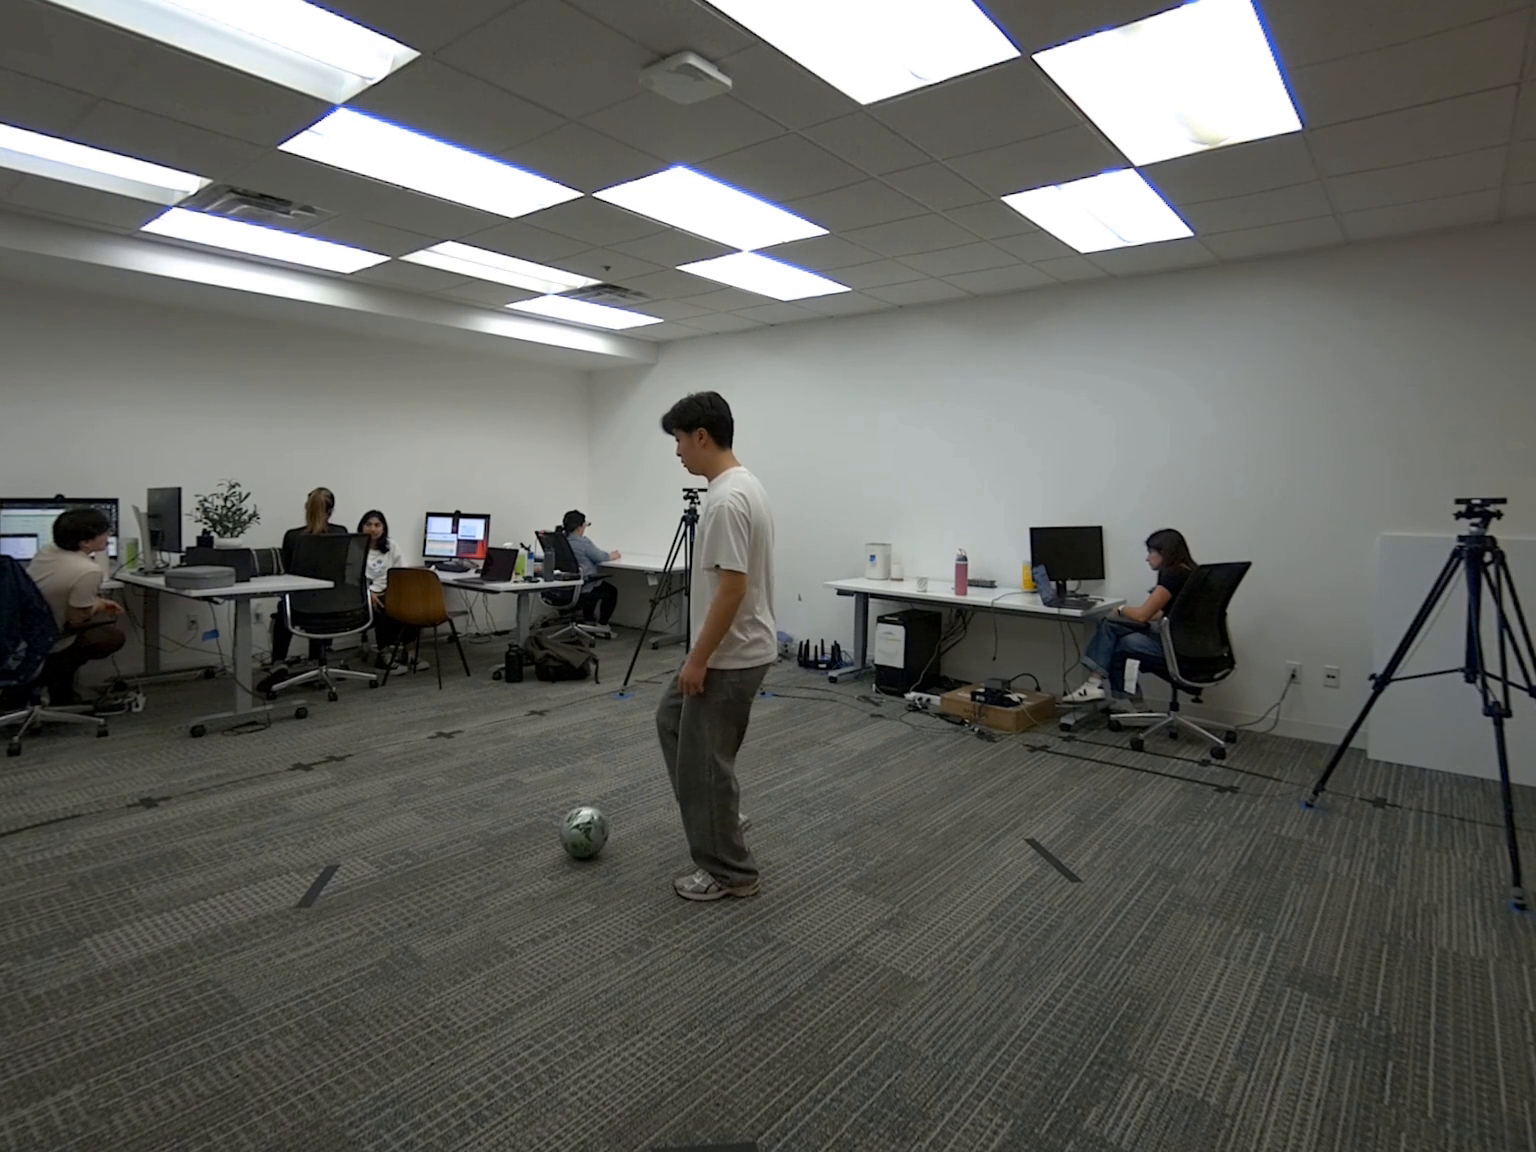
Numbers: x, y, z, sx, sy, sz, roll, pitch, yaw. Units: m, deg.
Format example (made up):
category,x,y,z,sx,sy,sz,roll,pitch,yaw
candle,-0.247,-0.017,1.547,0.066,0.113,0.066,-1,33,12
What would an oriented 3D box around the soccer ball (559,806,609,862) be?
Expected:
category,x,y,z,sx,sy,sz,roll,pitch,yaw
soccer ball,-0.692,0.955,3.200,0.187,0.187,0.188,1,4,-2
